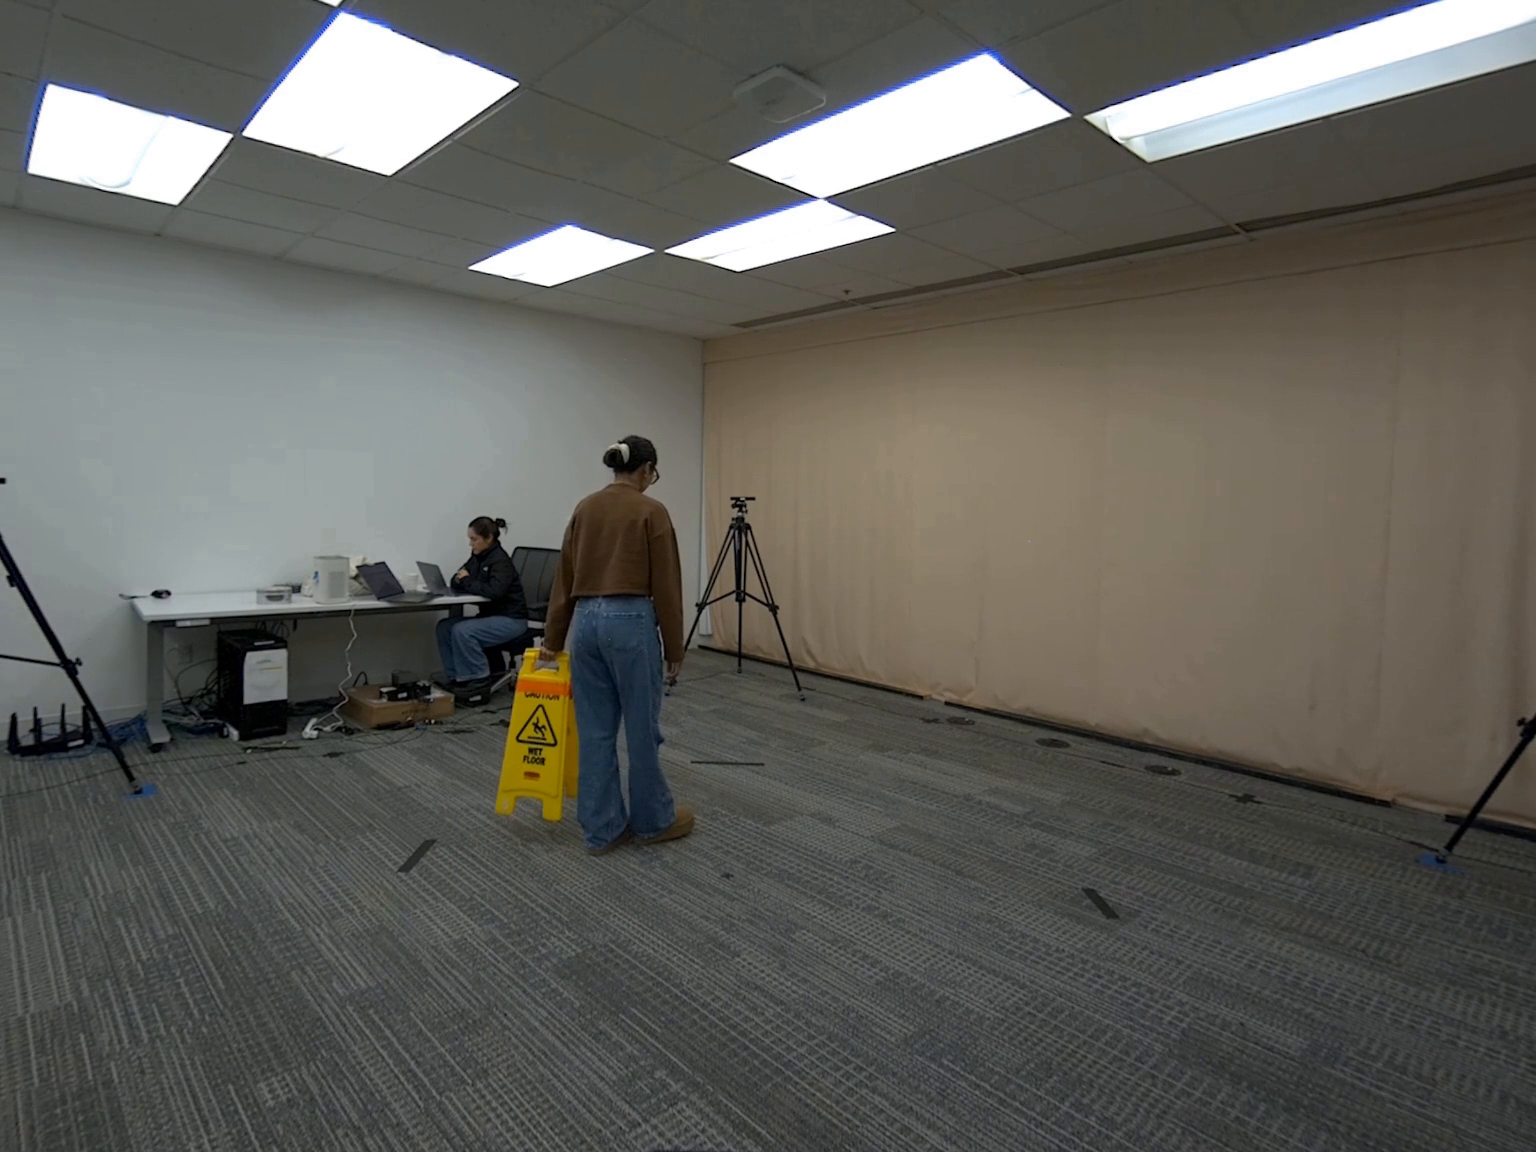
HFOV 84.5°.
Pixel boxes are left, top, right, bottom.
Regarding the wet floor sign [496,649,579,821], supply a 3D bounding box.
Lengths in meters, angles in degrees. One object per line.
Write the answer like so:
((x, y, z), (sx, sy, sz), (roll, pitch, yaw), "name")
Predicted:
((-0.933, 0.634, 3.473), (0.284, 0.644, 0.288), (3, 3, 8), "wet floor sign")
